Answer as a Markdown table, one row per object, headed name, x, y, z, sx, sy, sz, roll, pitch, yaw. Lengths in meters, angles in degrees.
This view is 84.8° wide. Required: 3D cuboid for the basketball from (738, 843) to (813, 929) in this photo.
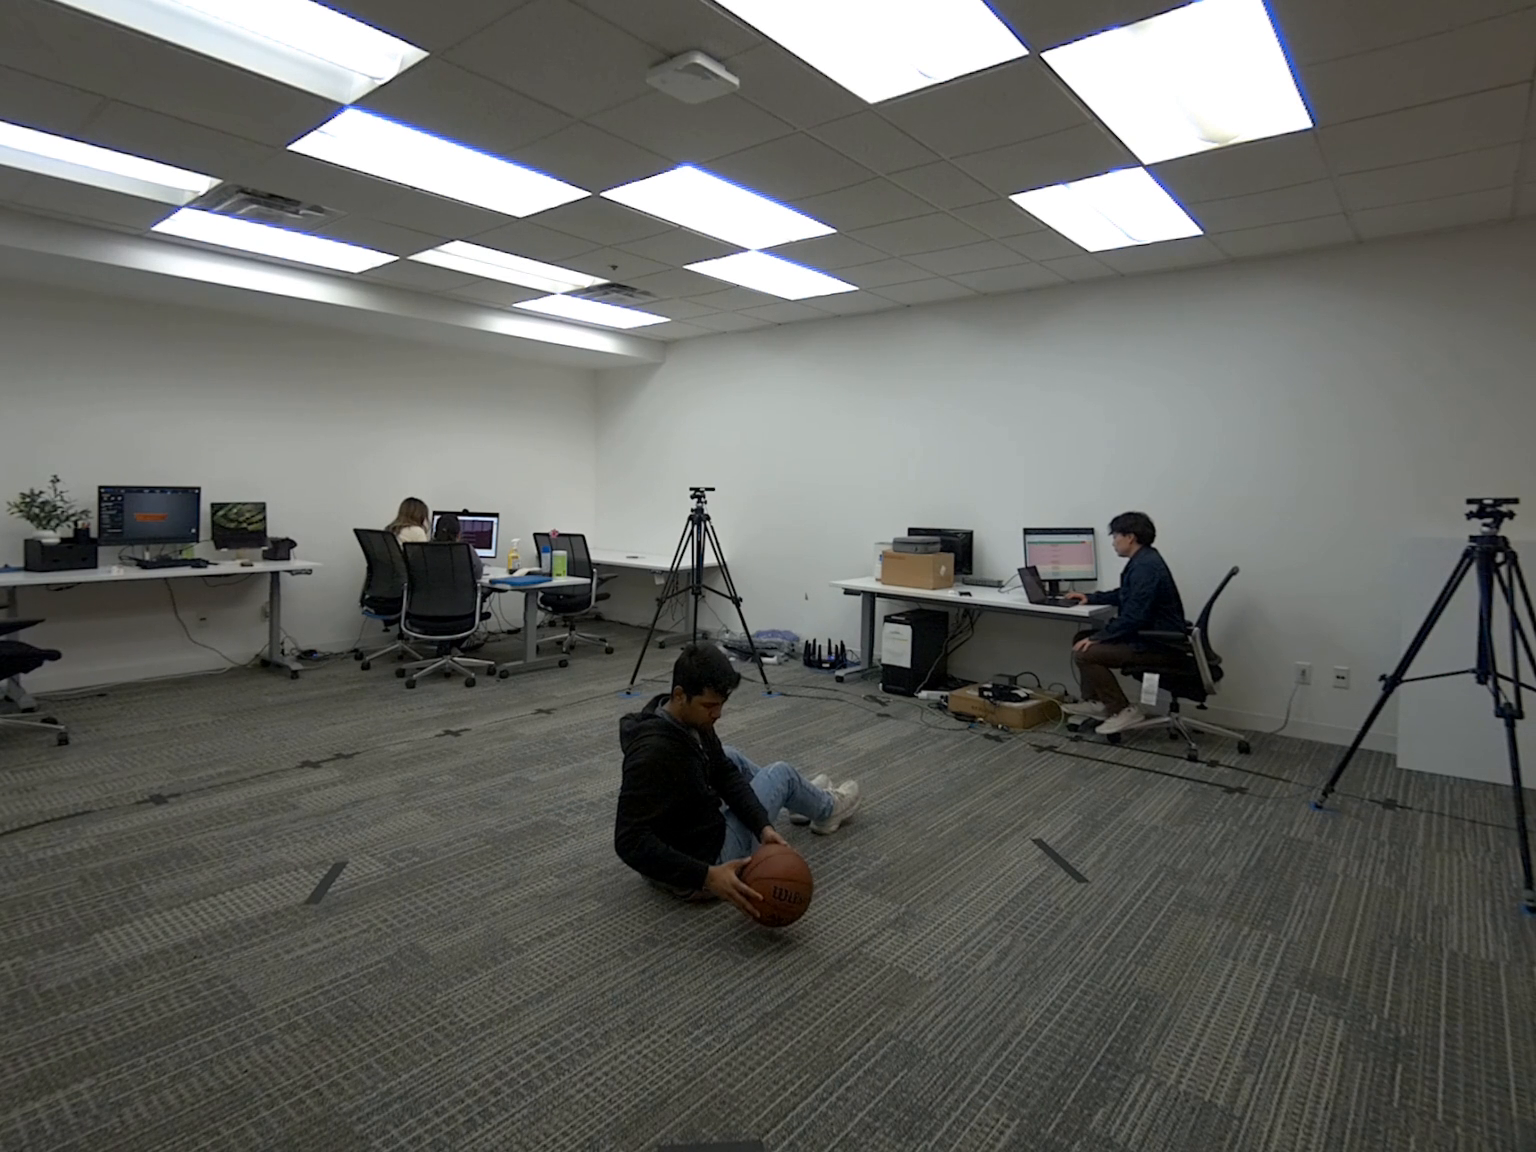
| name | x | y | z | sx | sy | sz | roll | pitch | yaw |
| --- | --- | --- | --- | --- | --- | --- | --- | --- | --- |
| basketball | 0.019 | 0.957 | 2.640 | 0.235 | 0.235 | 0.237 | 1 | 4 | -2 |
